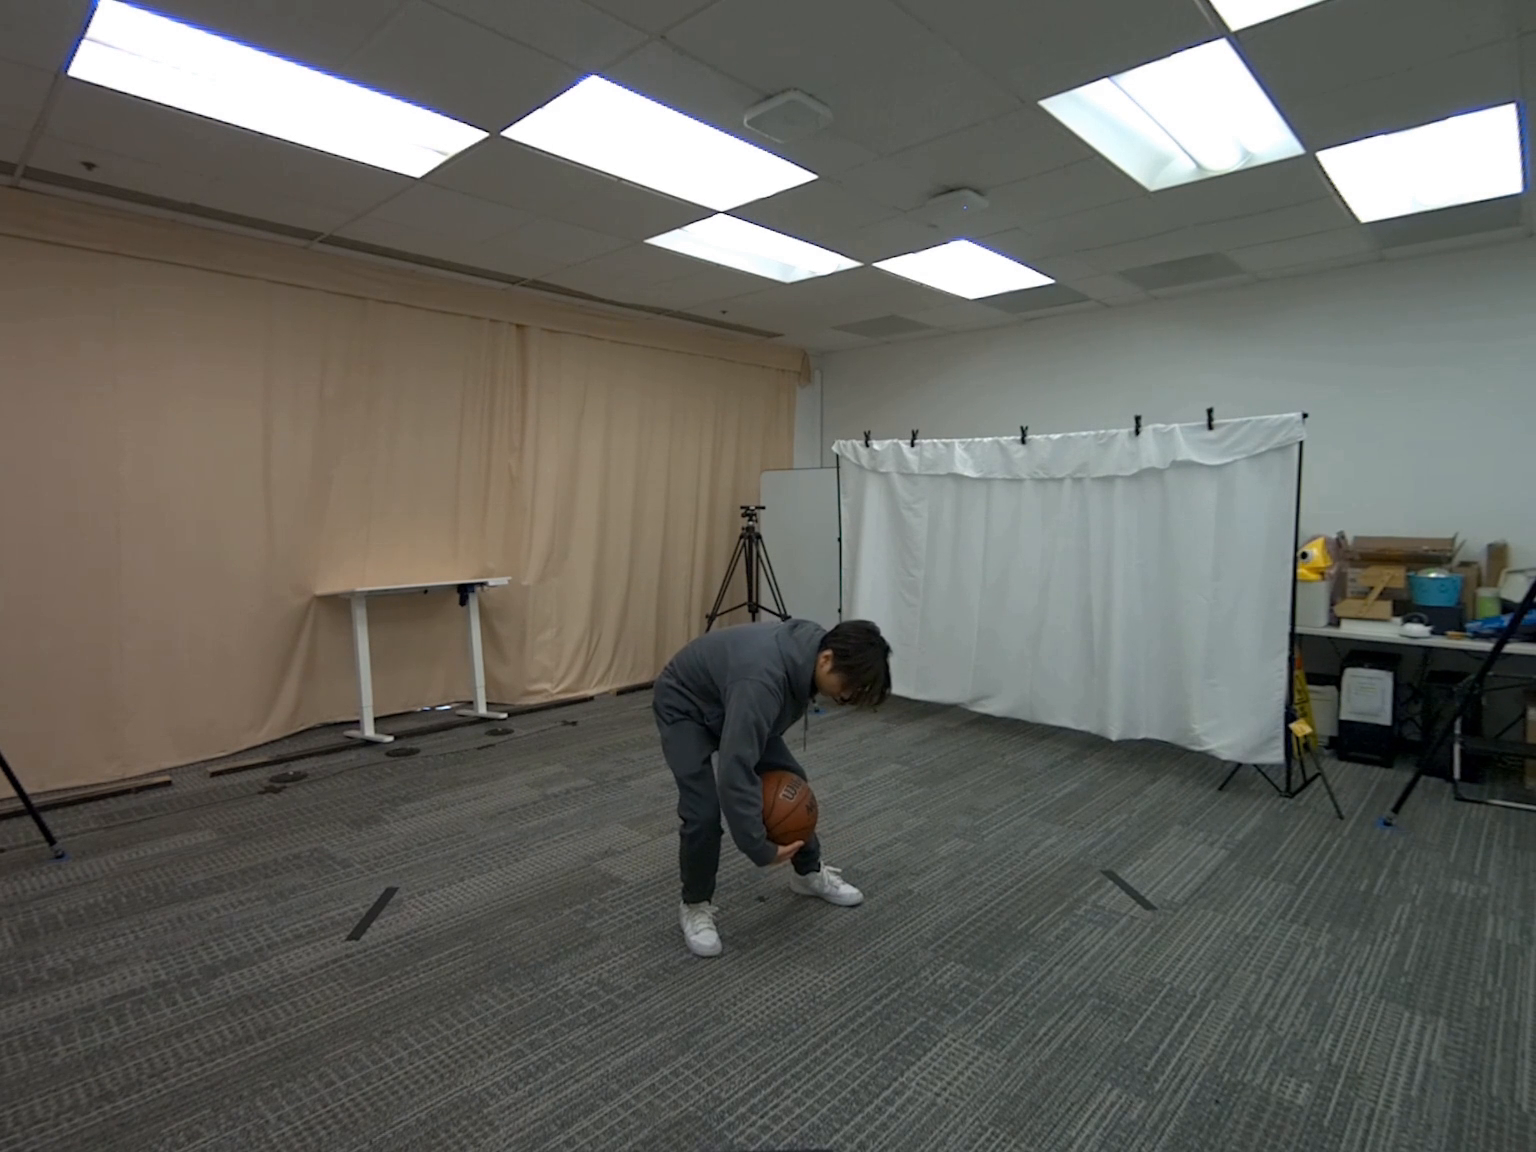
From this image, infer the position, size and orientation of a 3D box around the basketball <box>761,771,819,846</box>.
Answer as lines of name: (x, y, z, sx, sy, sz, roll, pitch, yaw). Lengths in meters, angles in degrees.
basketball: (0.026, 0.714, 2.569, 0.236, 0.235, 0.237, 0, 4, -2)
